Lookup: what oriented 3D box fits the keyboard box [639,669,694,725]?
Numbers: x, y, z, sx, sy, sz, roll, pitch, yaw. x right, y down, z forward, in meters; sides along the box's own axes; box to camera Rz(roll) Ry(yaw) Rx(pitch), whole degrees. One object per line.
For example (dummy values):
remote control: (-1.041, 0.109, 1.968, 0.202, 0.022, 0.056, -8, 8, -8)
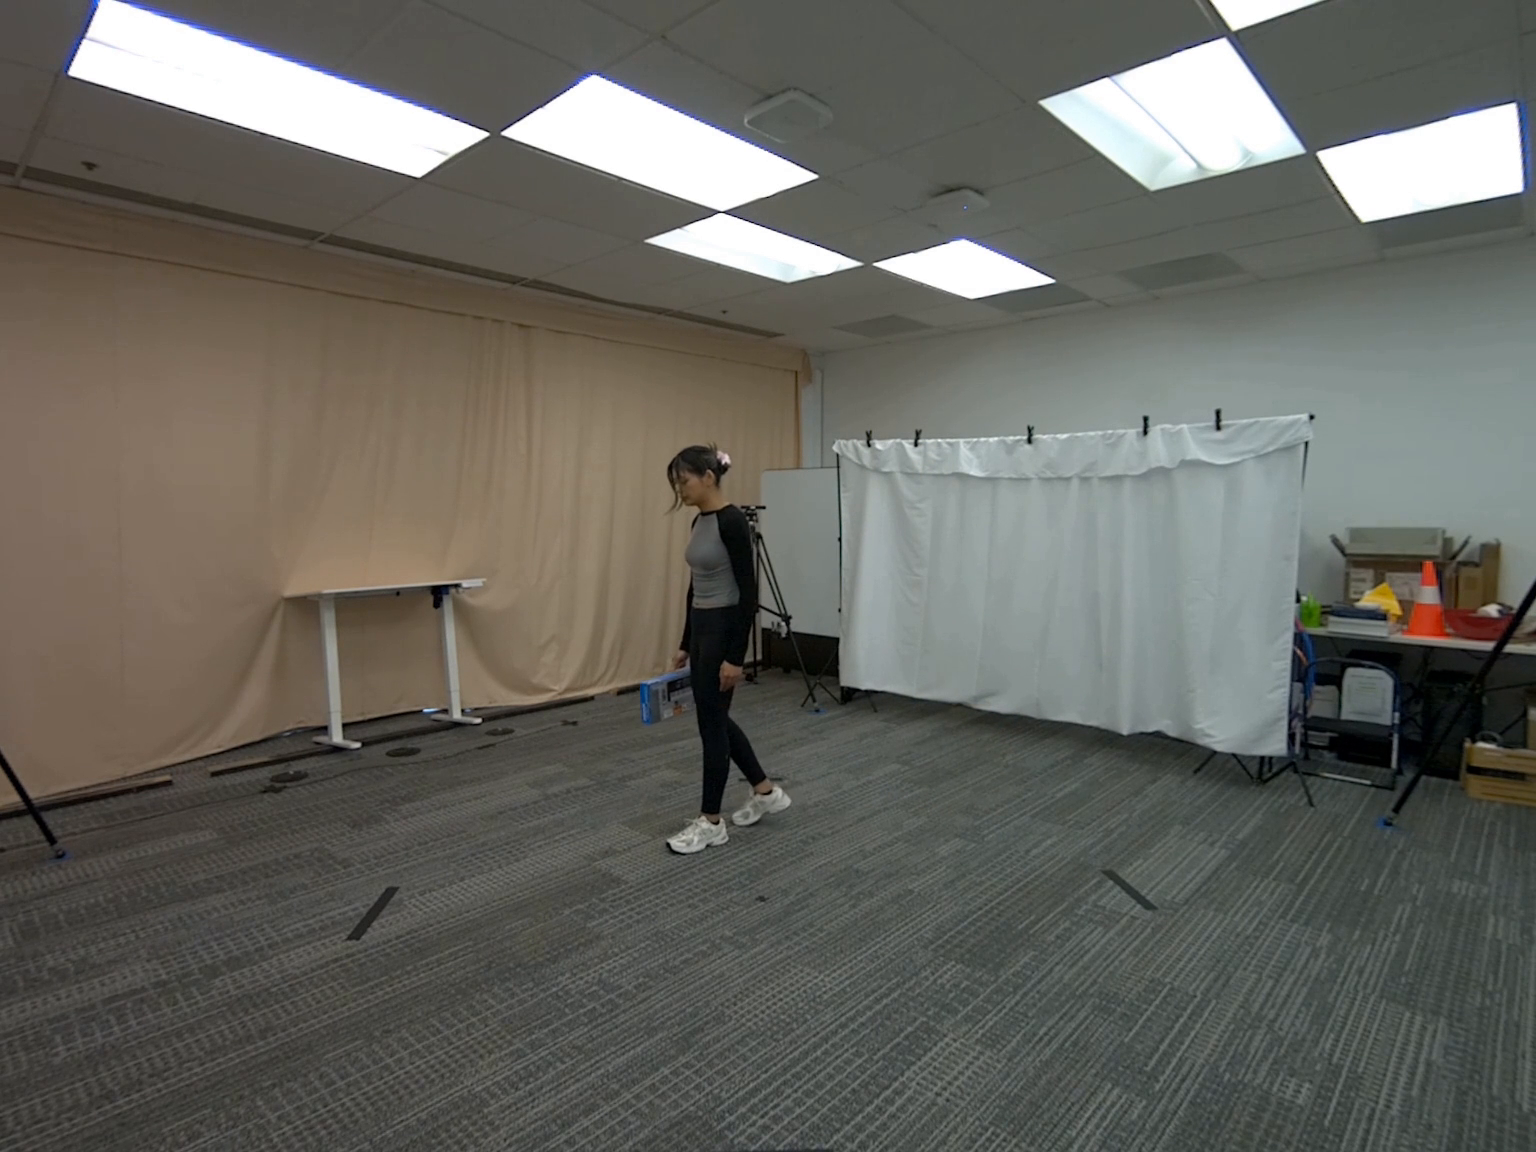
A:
keyboard box: (-0.372, 0.506, 3.666, 0.061, 0.175, 0.425, 2, 9, 41)
